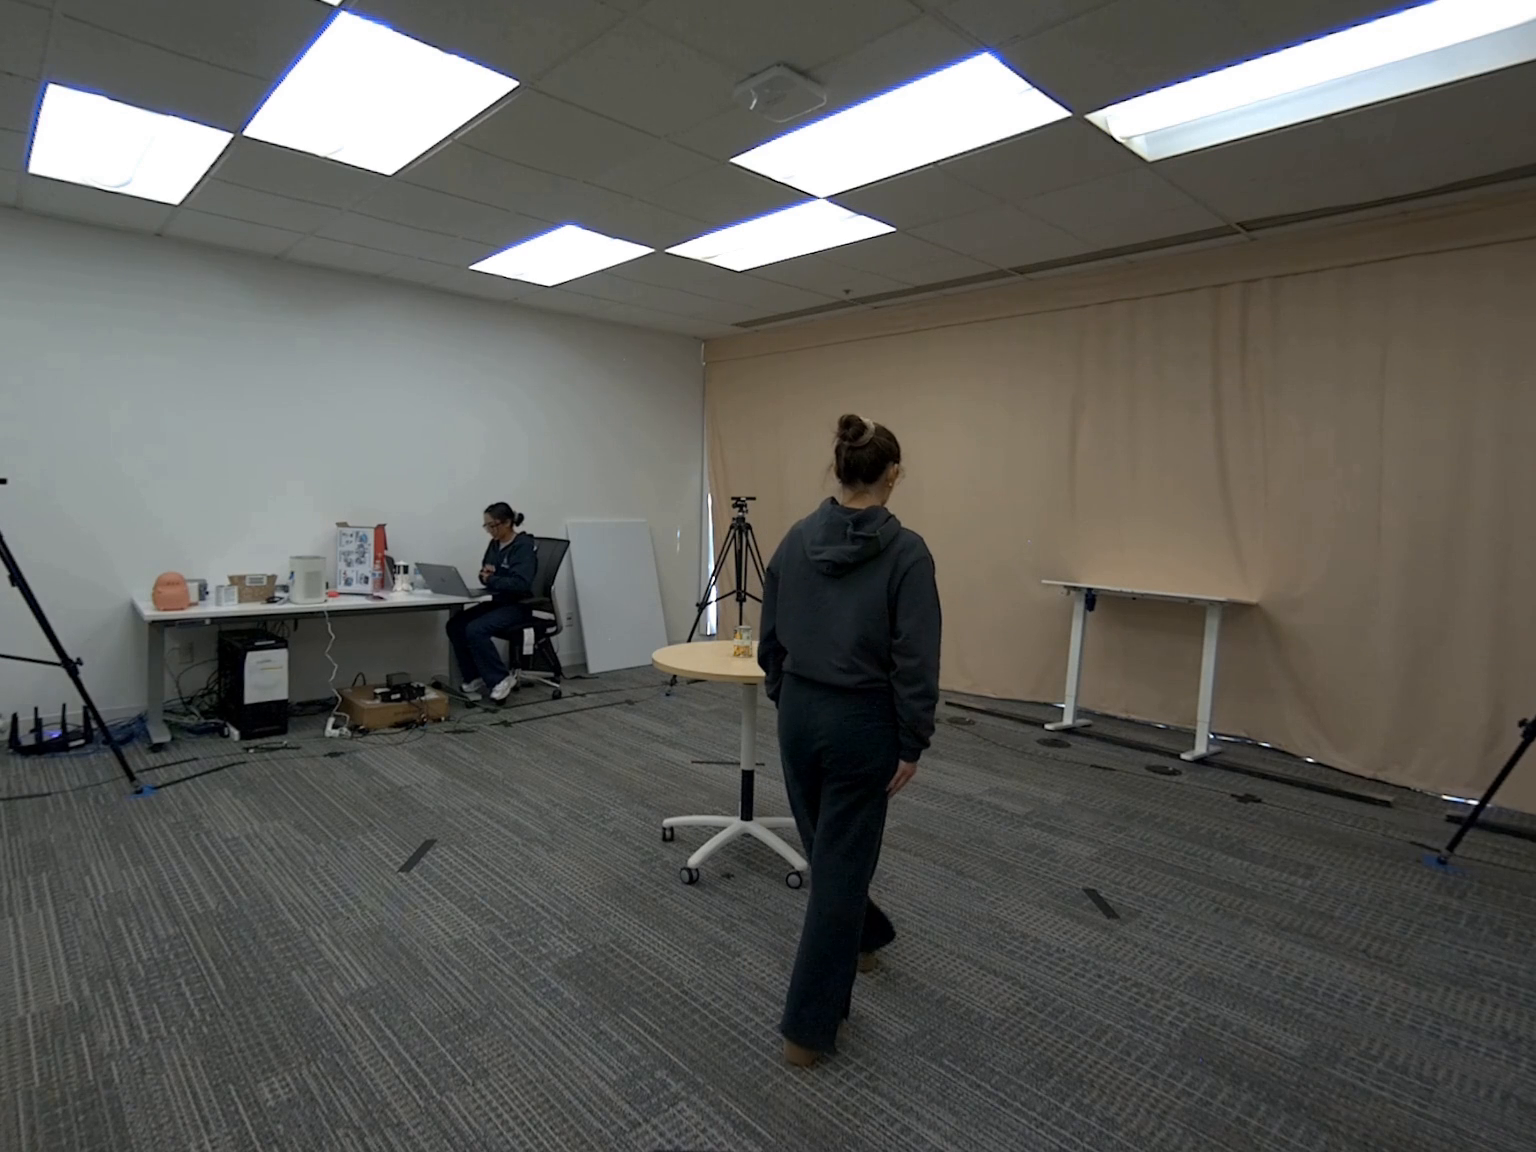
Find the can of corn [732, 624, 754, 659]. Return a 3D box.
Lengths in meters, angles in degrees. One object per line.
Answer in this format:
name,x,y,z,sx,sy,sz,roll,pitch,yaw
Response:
can of corn,-0.102,0.254,3.272,0.074,0.111,0.074,2,3,-1
